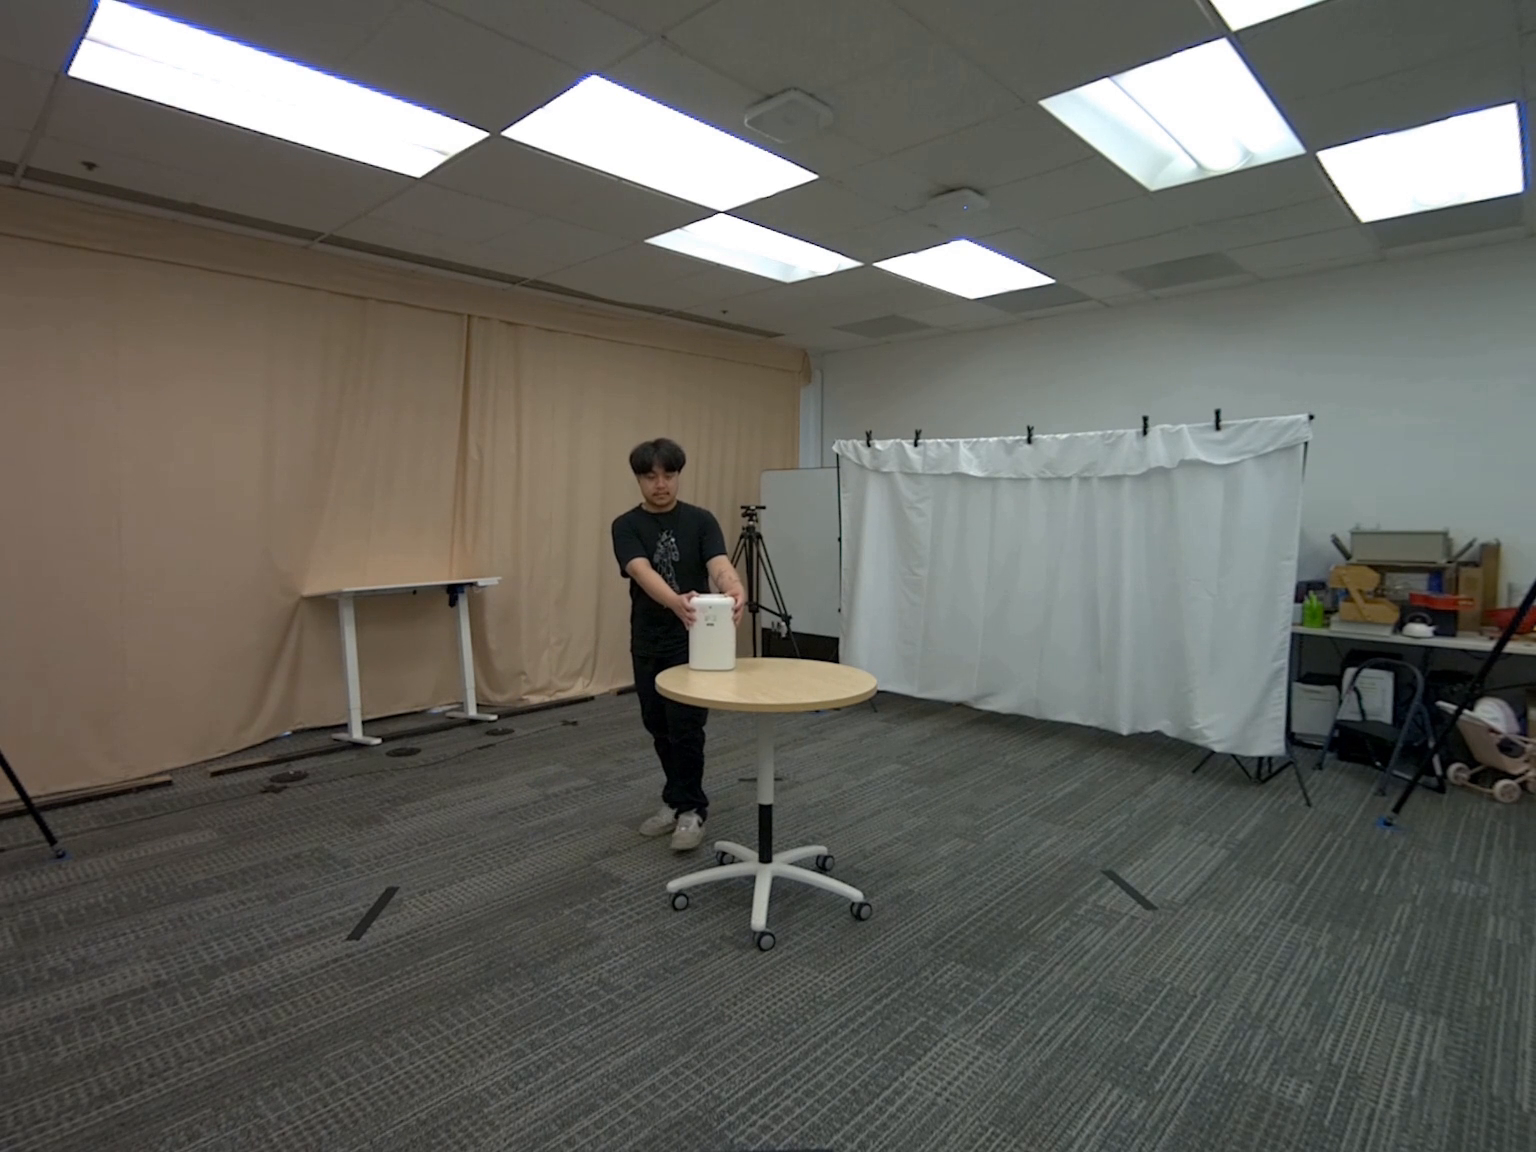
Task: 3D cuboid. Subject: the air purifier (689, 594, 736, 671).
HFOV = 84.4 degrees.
[{"bbox_3d":[-0.209,0.211,3.124,0.172,0.265,0.171,-1,2,5],"label":"air purifier"}]
